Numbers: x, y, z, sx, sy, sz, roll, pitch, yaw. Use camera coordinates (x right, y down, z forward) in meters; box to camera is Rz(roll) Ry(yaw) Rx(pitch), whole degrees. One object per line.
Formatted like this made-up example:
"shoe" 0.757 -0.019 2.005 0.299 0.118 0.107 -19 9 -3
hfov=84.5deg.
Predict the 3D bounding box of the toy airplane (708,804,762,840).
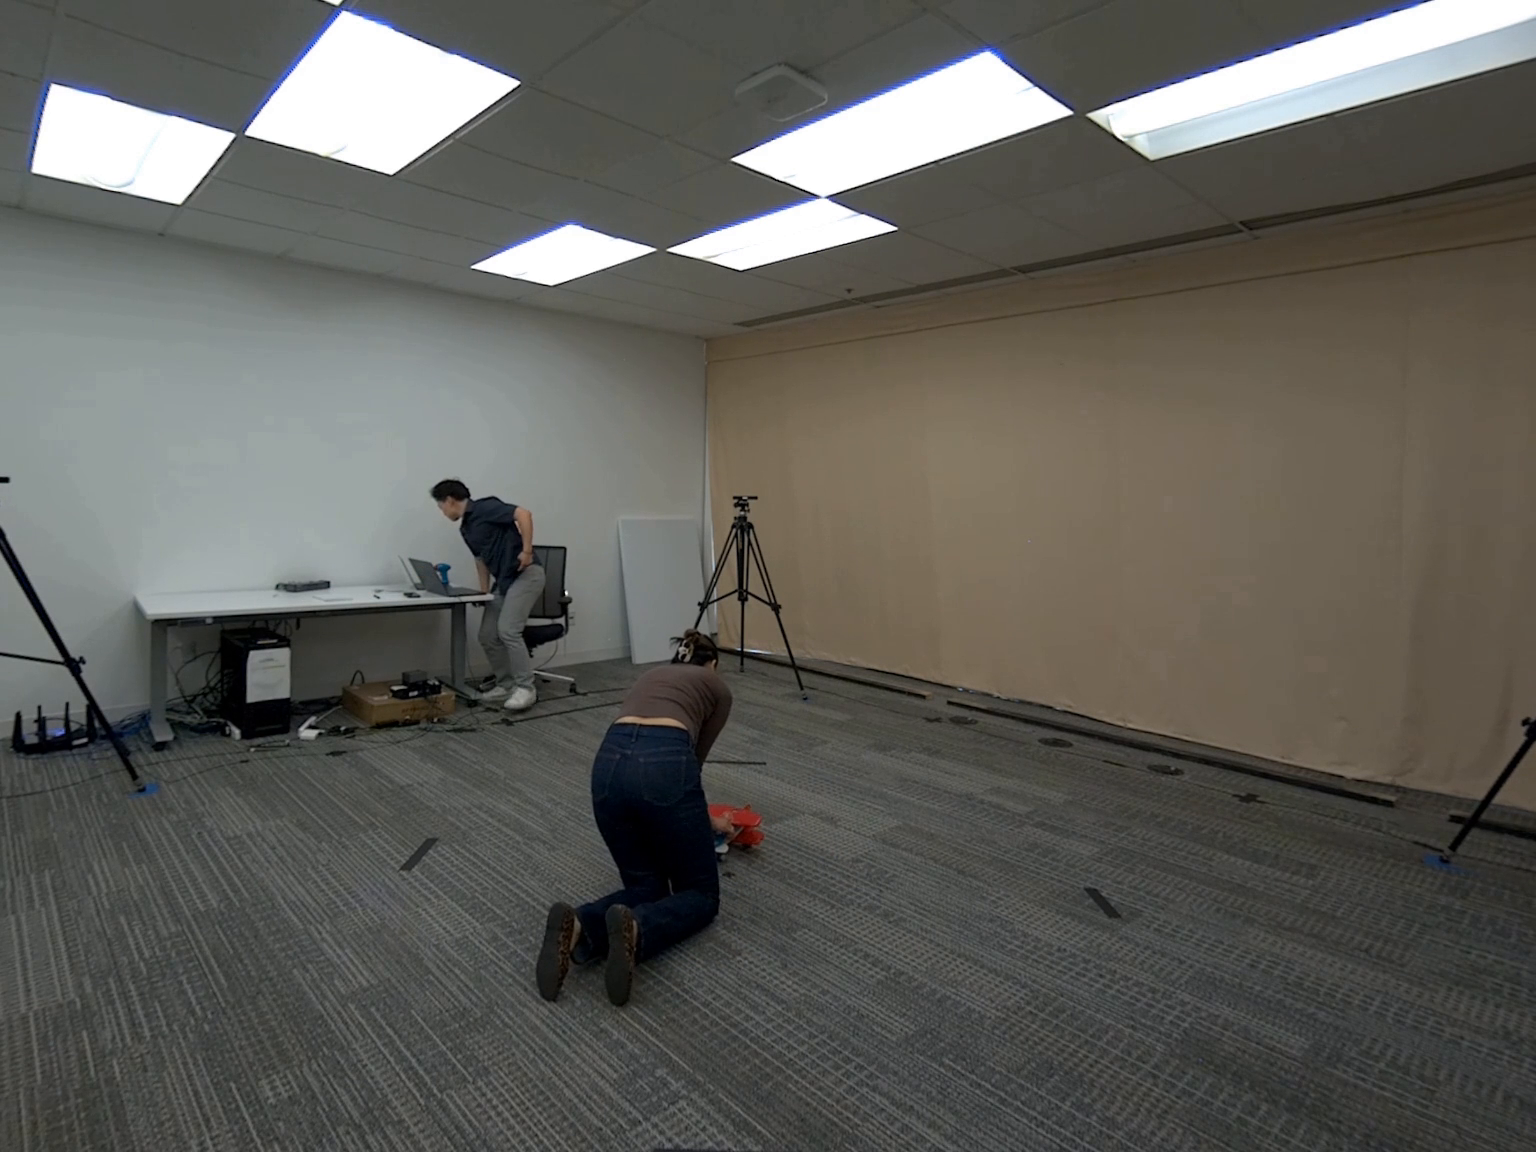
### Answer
"toy airplane" -0.143 1.011 3.299 0.250 0.156 0.260 -1 3 -3
